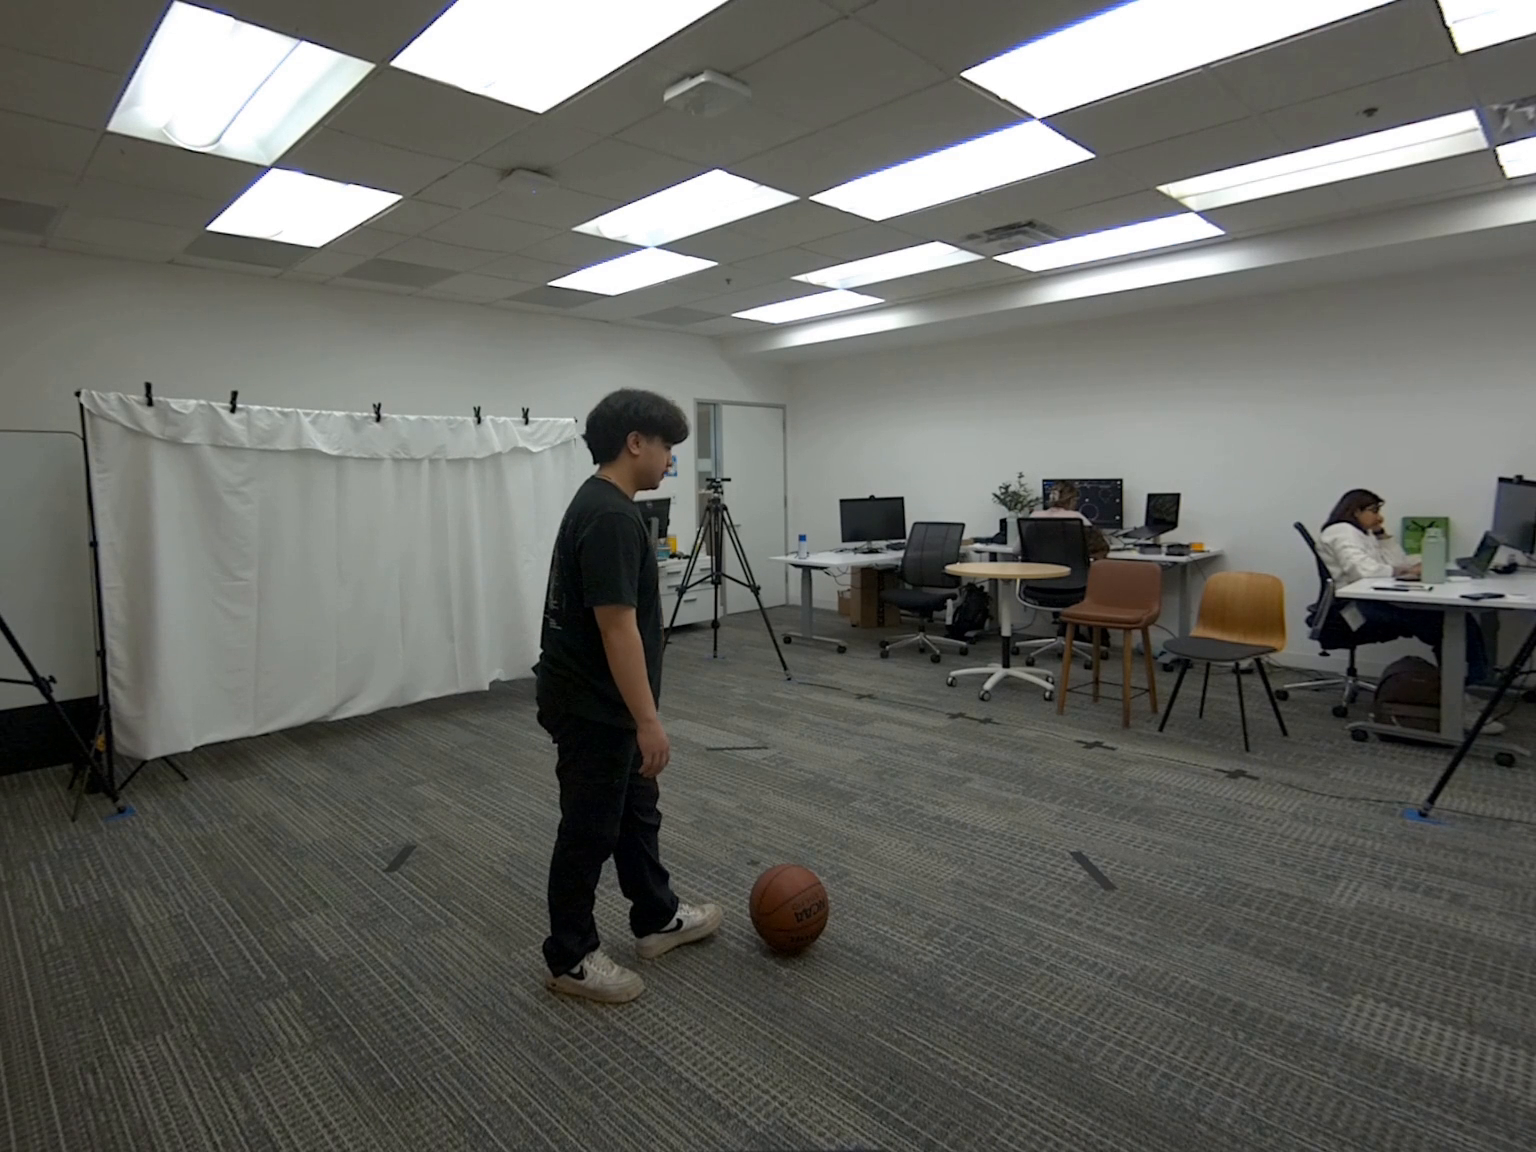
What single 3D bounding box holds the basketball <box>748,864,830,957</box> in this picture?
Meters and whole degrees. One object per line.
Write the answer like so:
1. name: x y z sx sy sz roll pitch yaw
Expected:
1. basketball: 0.061 0.981 2.554 0.236 0.235 0.237 -1 5 -2
